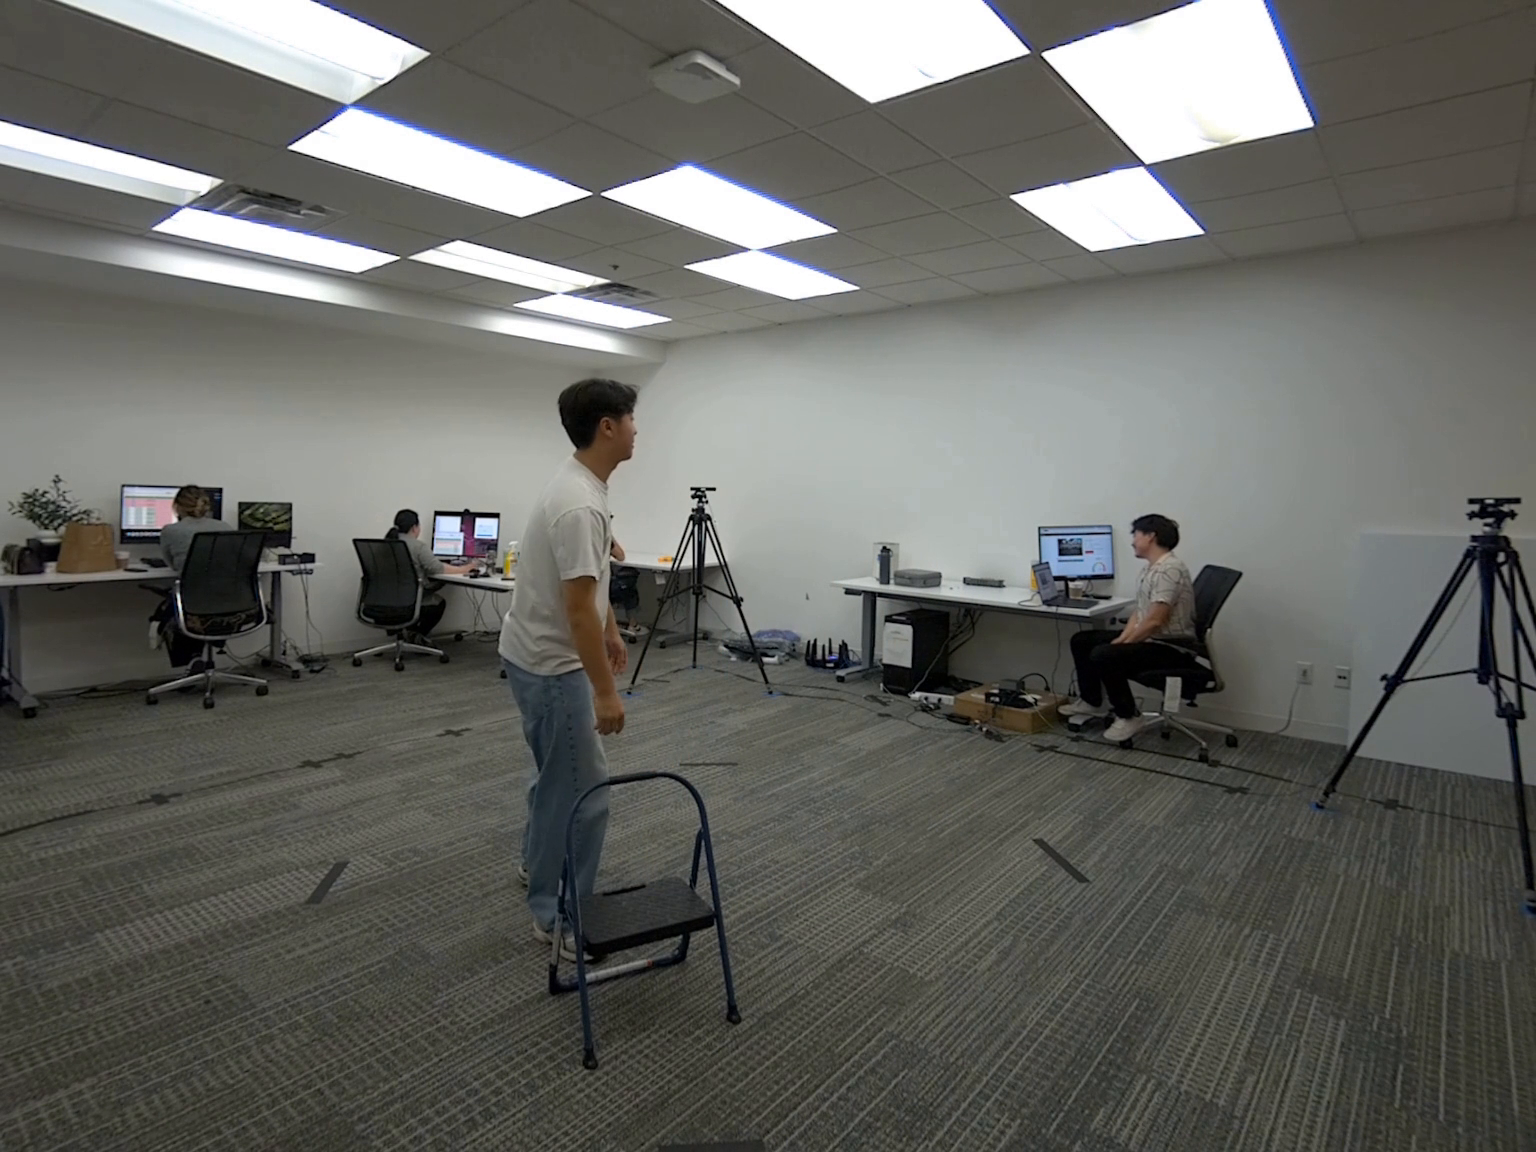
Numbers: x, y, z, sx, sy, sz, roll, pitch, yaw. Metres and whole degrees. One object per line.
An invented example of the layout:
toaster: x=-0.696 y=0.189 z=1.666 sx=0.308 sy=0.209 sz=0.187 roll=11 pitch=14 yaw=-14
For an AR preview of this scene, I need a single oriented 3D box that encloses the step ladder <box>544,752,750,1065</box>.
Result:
step ladder: x=-0.334 y=0.845 z=2.254 sx=0.419 sy=0.604 sz=0.360 roll=0 pitch=4 yaw=-30
